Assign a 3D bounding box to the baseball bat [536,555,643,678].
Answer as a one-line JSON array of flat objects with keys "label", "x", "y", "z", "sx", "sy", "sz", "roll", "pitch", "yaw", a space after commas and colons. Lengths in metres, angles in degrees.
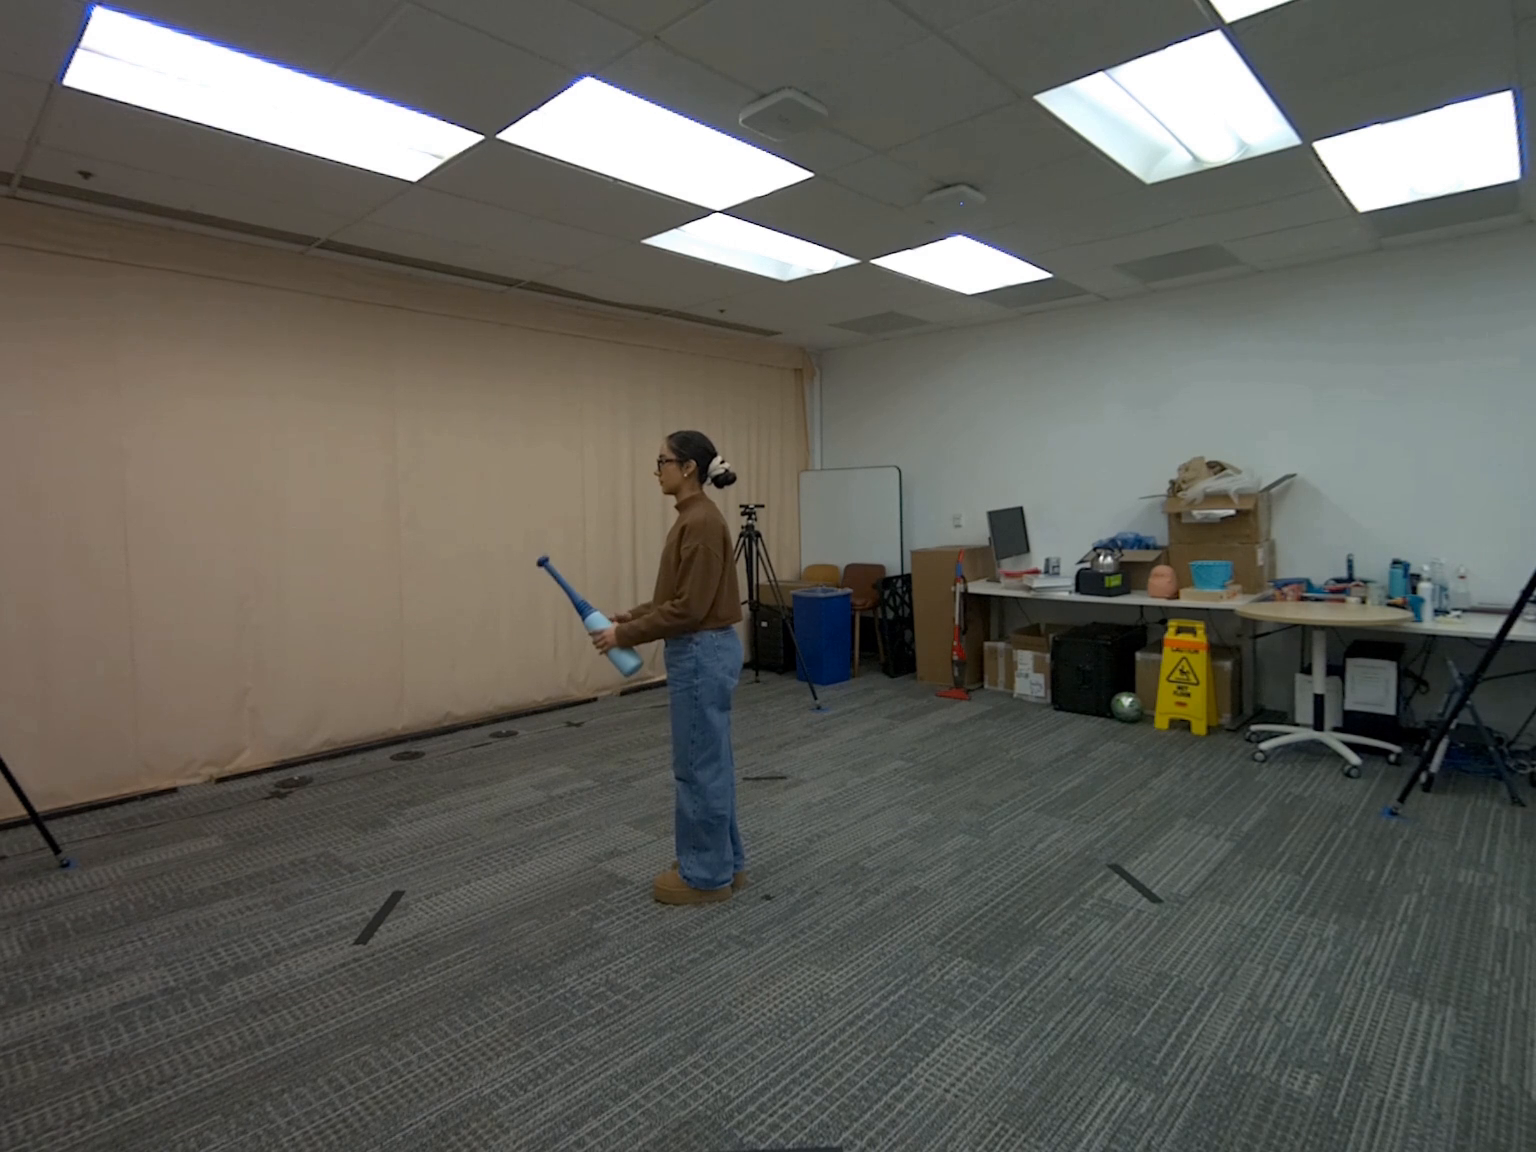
[{"label": "baseball bat", "x": -0.625, "y": 0.148, "z": 2.952, "sx": 0.552, "sy": 0.089, "sz": 0.087, "roll": 46, "pitch": 18, "yaw": 15}]
